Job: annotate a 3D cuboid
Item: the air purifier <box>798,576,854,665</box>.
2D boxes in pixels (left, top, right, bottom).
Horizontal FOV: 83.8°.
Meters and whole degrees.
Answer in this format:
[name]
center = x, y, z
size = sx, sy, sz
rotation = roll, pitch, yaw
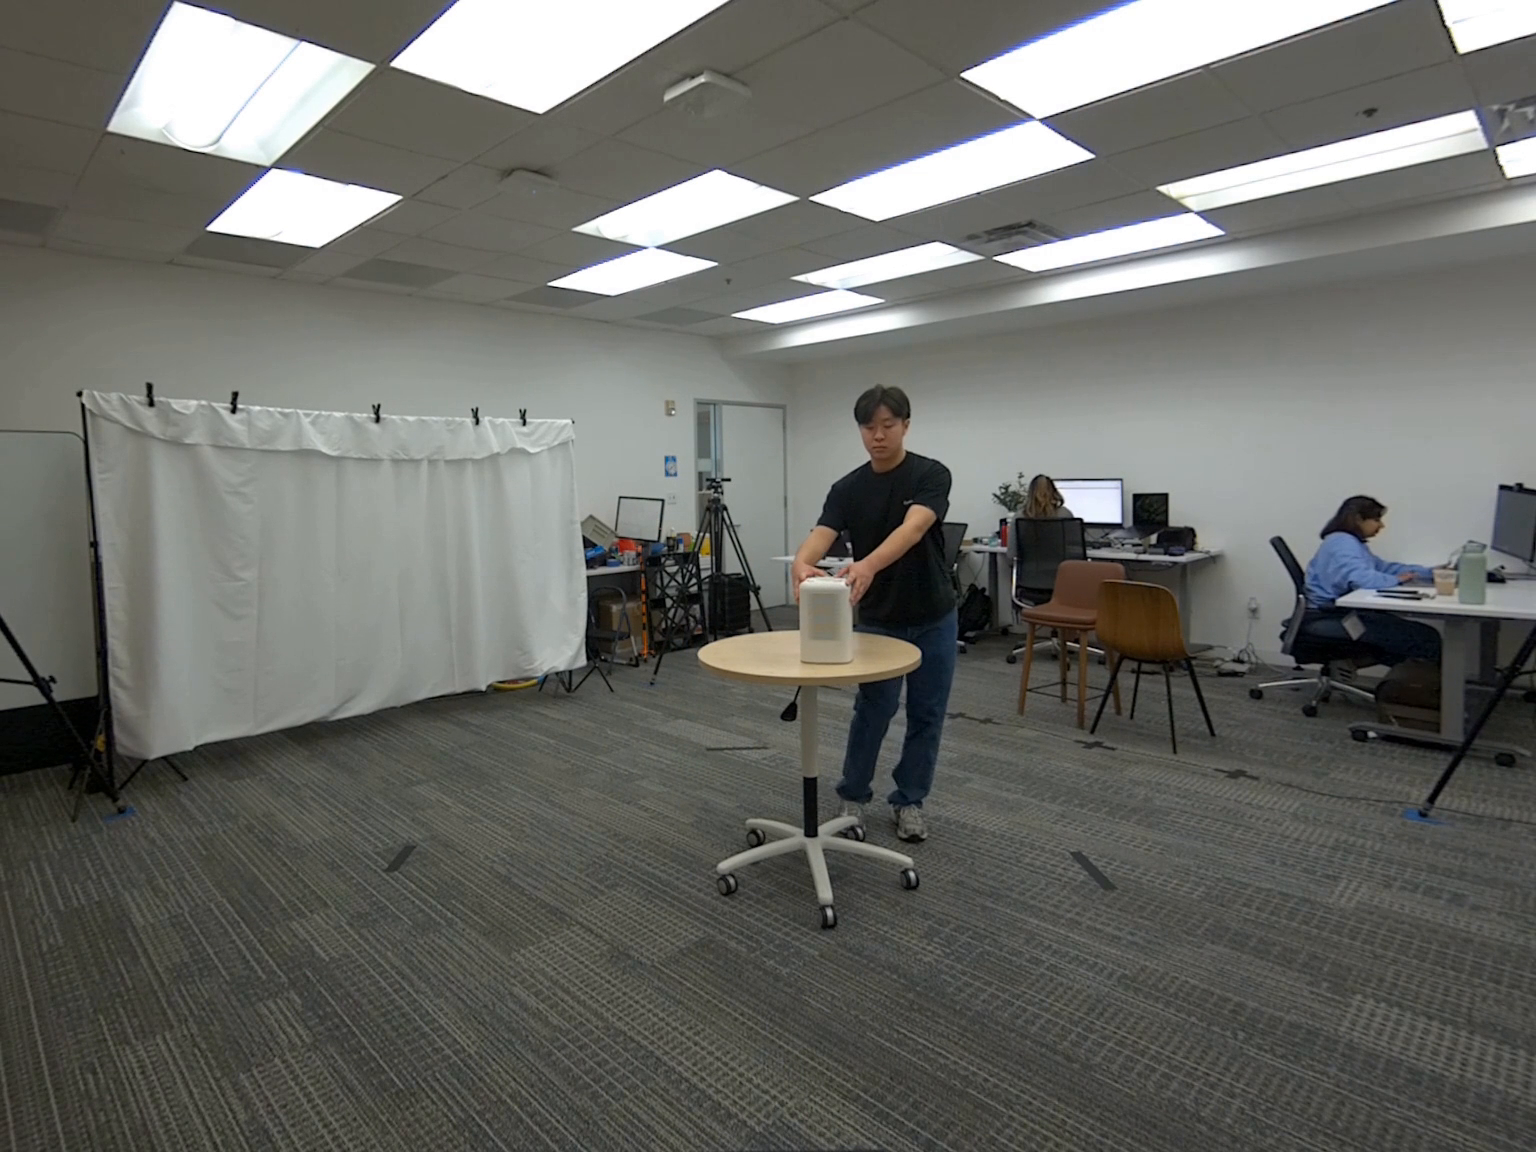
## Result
[air purifier]
center = 0.200, 0.145, 2.818
size = 0.173, 0.264, 0.170
rotation = 0, 4, 9
